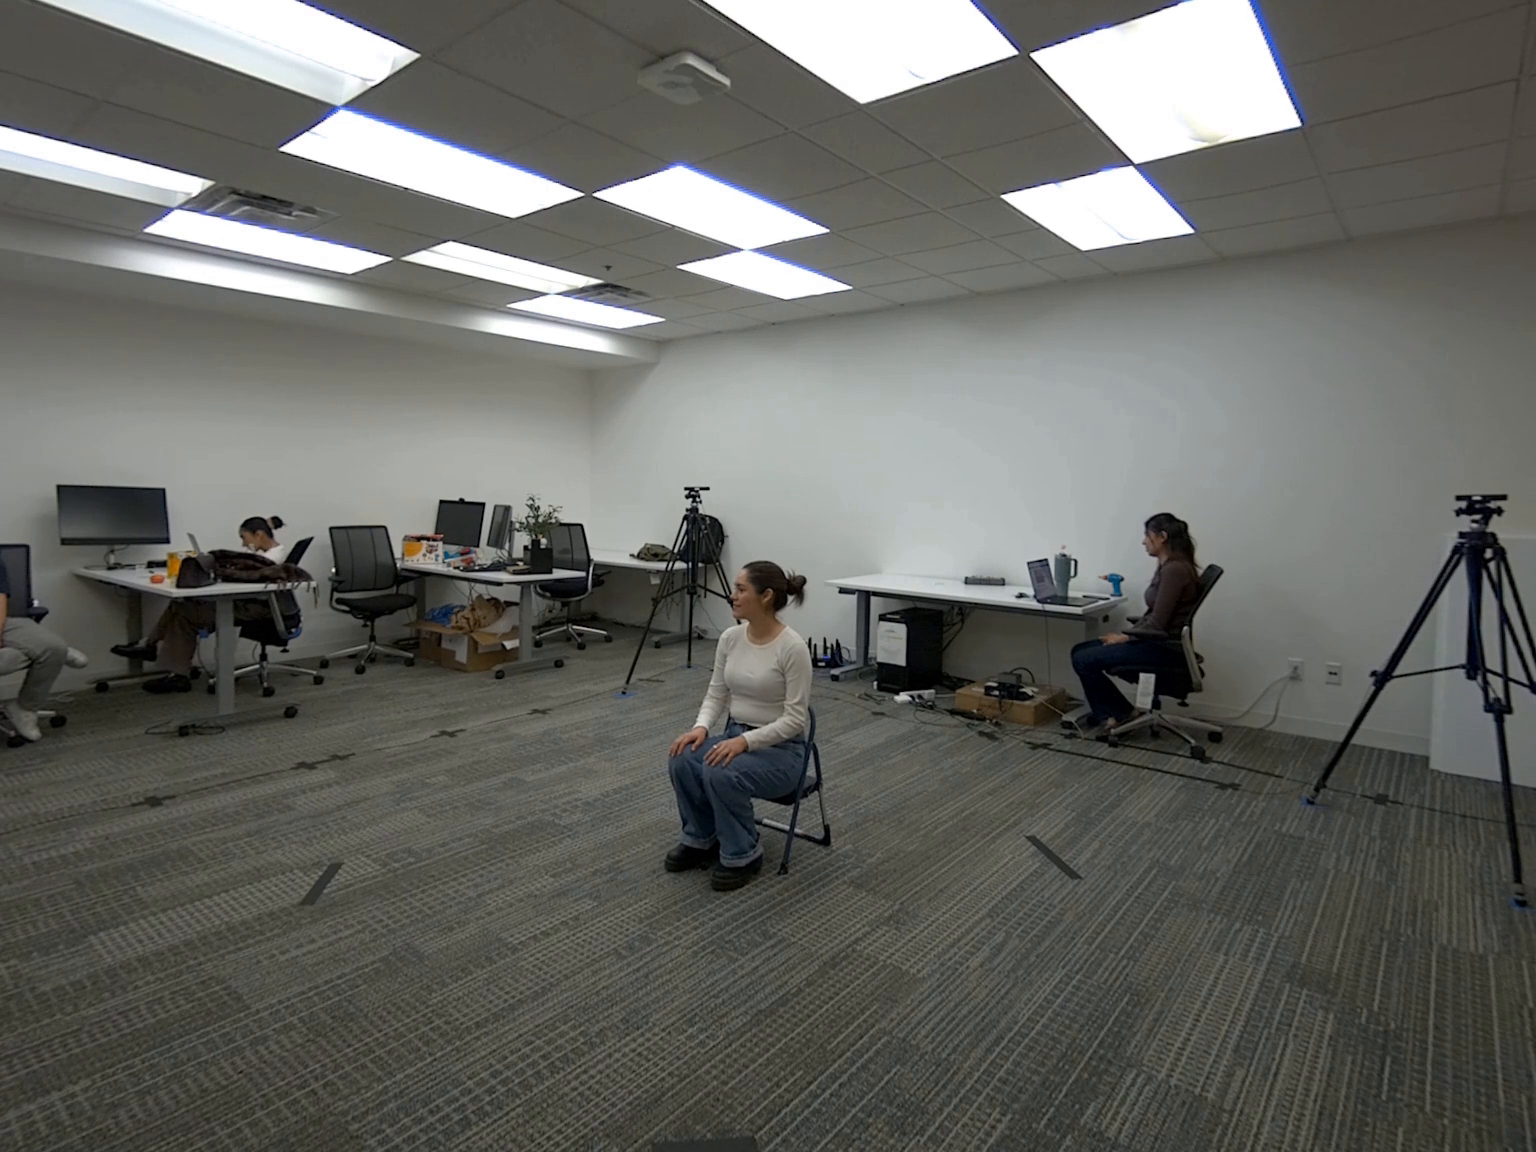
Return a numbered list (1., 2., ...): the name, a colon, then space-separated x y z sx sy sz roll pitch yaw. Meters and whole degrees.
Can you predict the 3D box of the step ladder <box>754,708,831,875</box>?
1. step ladder: -0.014 0.743 3.317 0.445 0.604 0.339 4 4 36
